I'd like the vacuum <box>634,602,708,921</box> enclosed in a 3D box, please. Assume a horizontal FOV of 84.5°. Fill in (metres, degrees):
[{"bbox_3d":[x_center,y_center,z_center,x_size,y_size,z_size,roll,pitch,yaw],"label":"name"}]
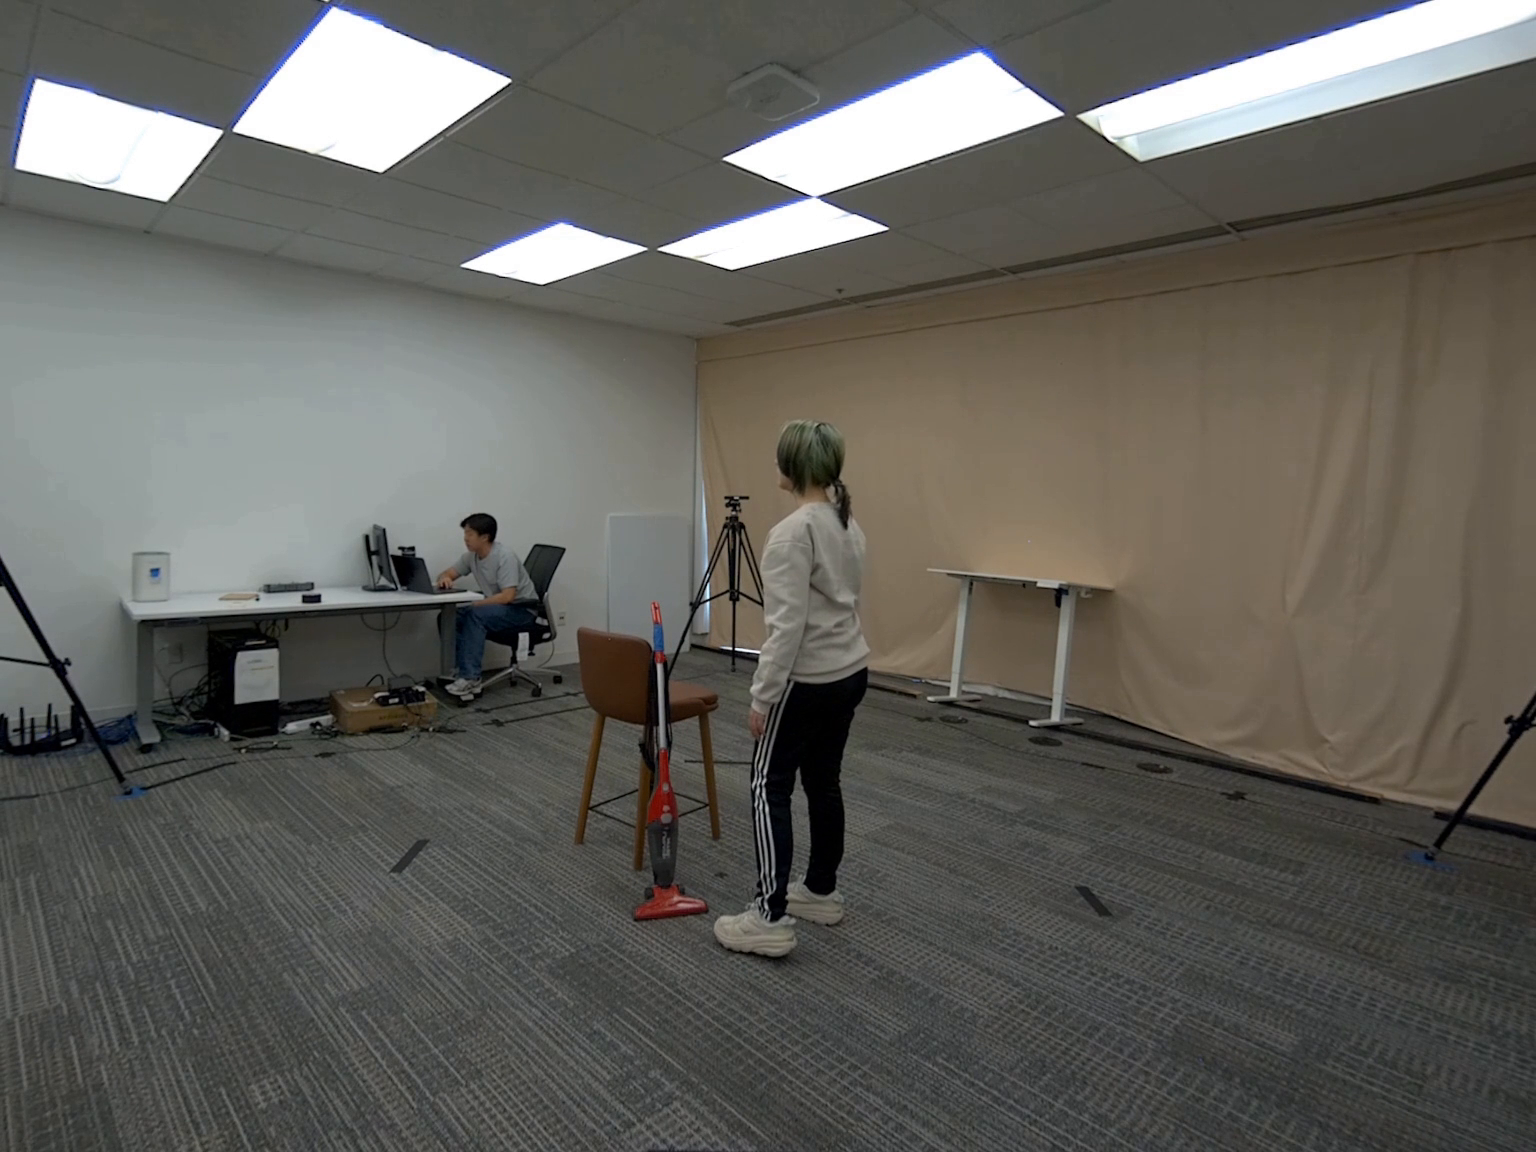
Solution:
[{"bbox_3d":[-0.387,0.619,2.994,0.249,1.063,0.144,1,-17,-18],"label":"vacuum"}]
